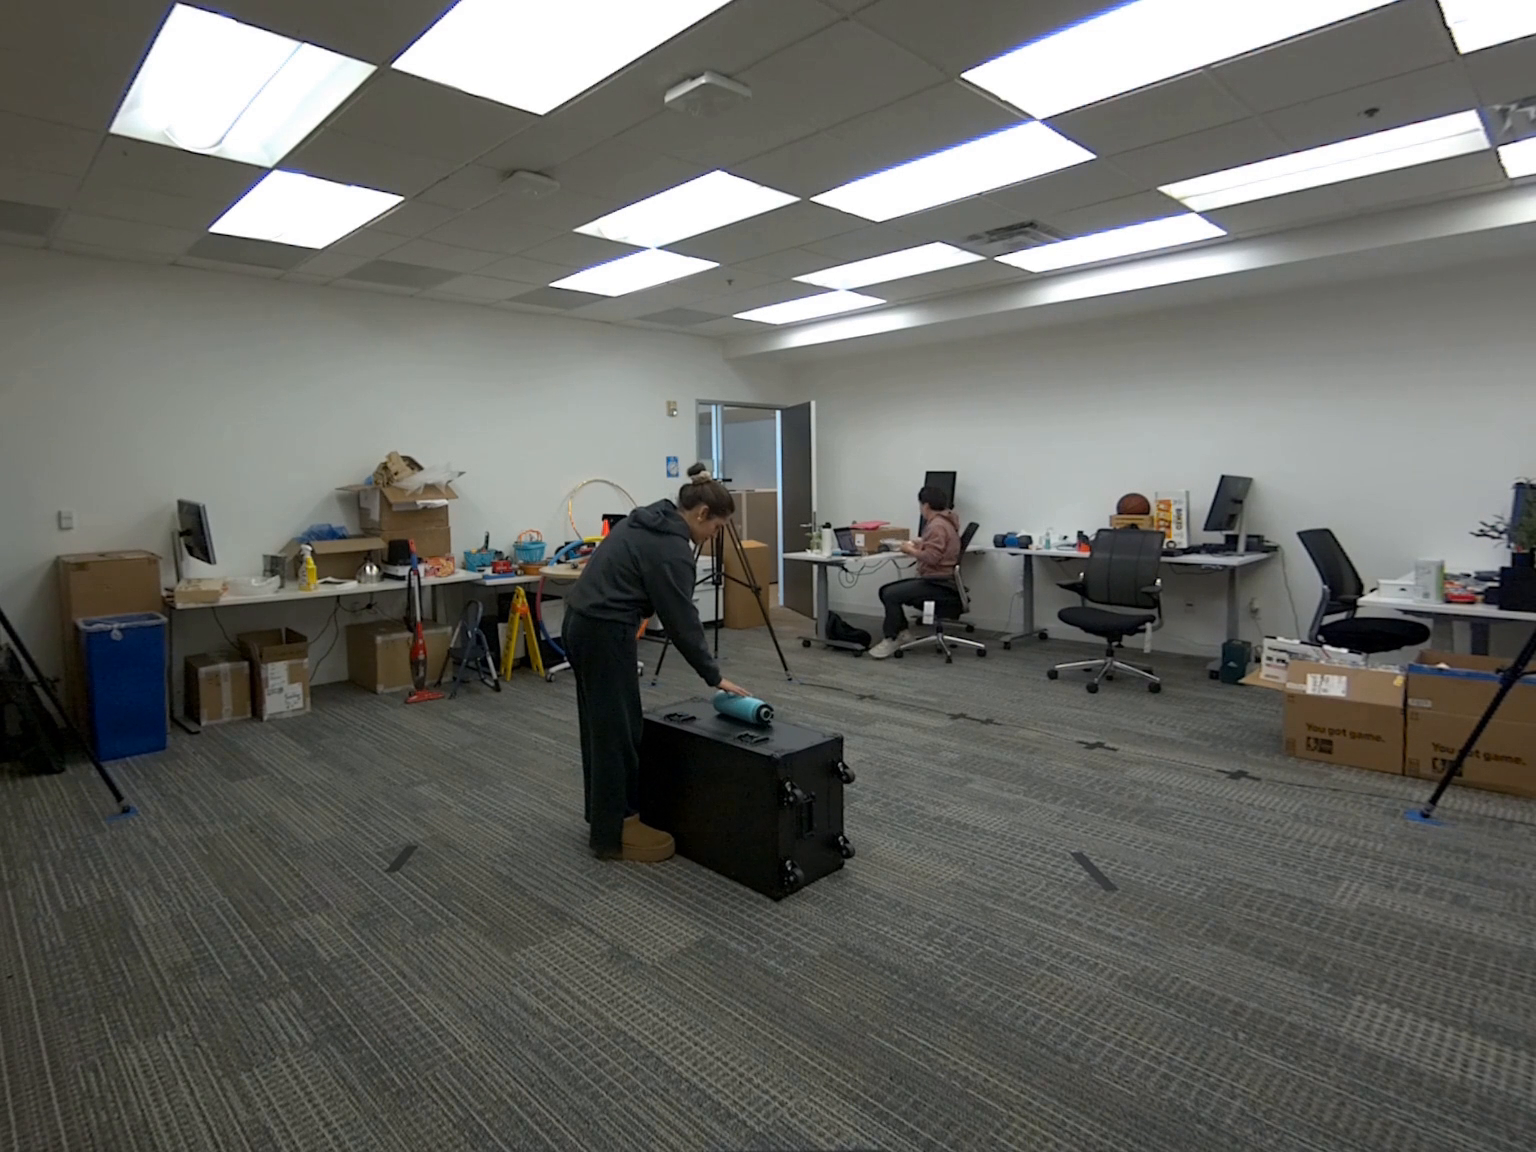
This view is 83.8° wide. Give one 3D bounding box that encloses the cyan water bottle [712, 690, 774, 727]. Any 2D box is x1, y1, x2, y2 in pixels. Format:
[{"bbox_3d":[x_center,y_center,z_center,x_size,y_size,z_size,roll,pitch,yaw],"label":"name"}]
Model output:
[{"bbox_3d":[-0.091,0.498,3.228,0.090,0.092,0.292,-4,7,-41],"label":"cyan water bottle"}]
